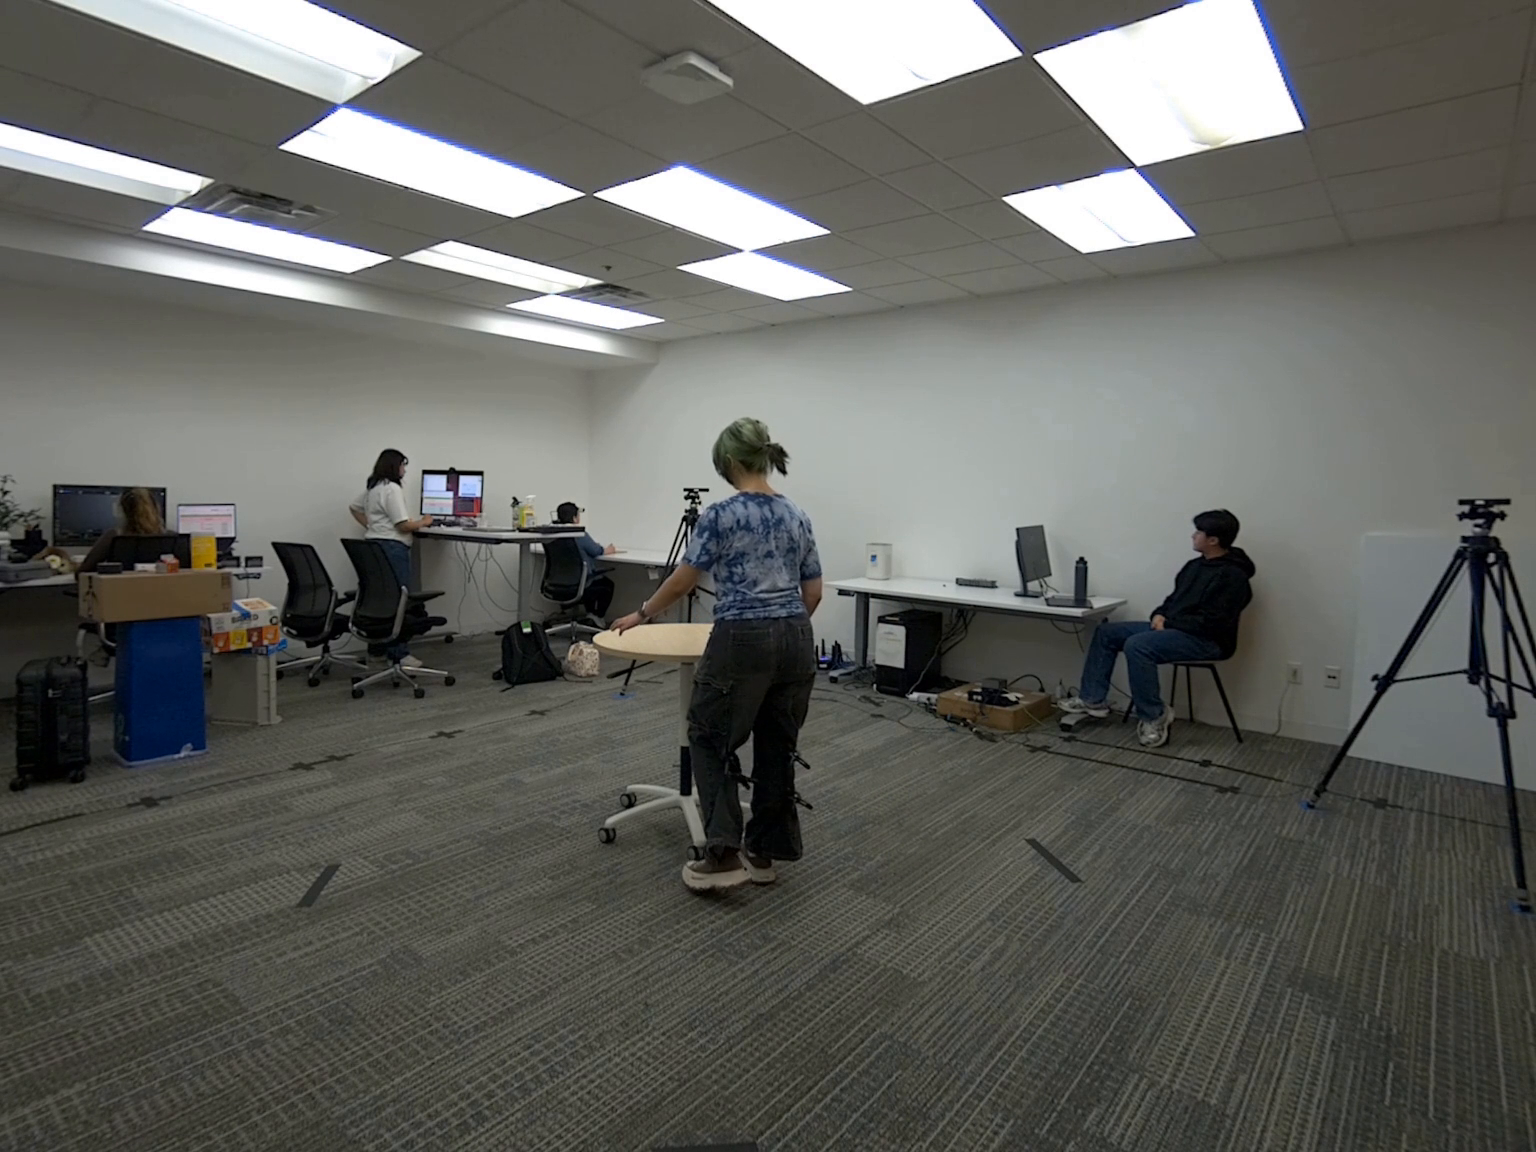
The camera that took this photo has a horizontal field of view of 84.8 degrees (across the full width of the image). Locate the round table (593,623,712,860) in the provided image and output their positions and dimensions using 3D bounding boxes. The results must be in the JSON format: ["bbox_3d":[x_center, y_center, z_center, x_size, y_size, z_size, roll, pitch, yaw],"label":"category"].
[{"bbox_3d":[-0.359,0.643,3.474,0.763,0.792,0.767,1,4,-2],"label":"round table"}]
